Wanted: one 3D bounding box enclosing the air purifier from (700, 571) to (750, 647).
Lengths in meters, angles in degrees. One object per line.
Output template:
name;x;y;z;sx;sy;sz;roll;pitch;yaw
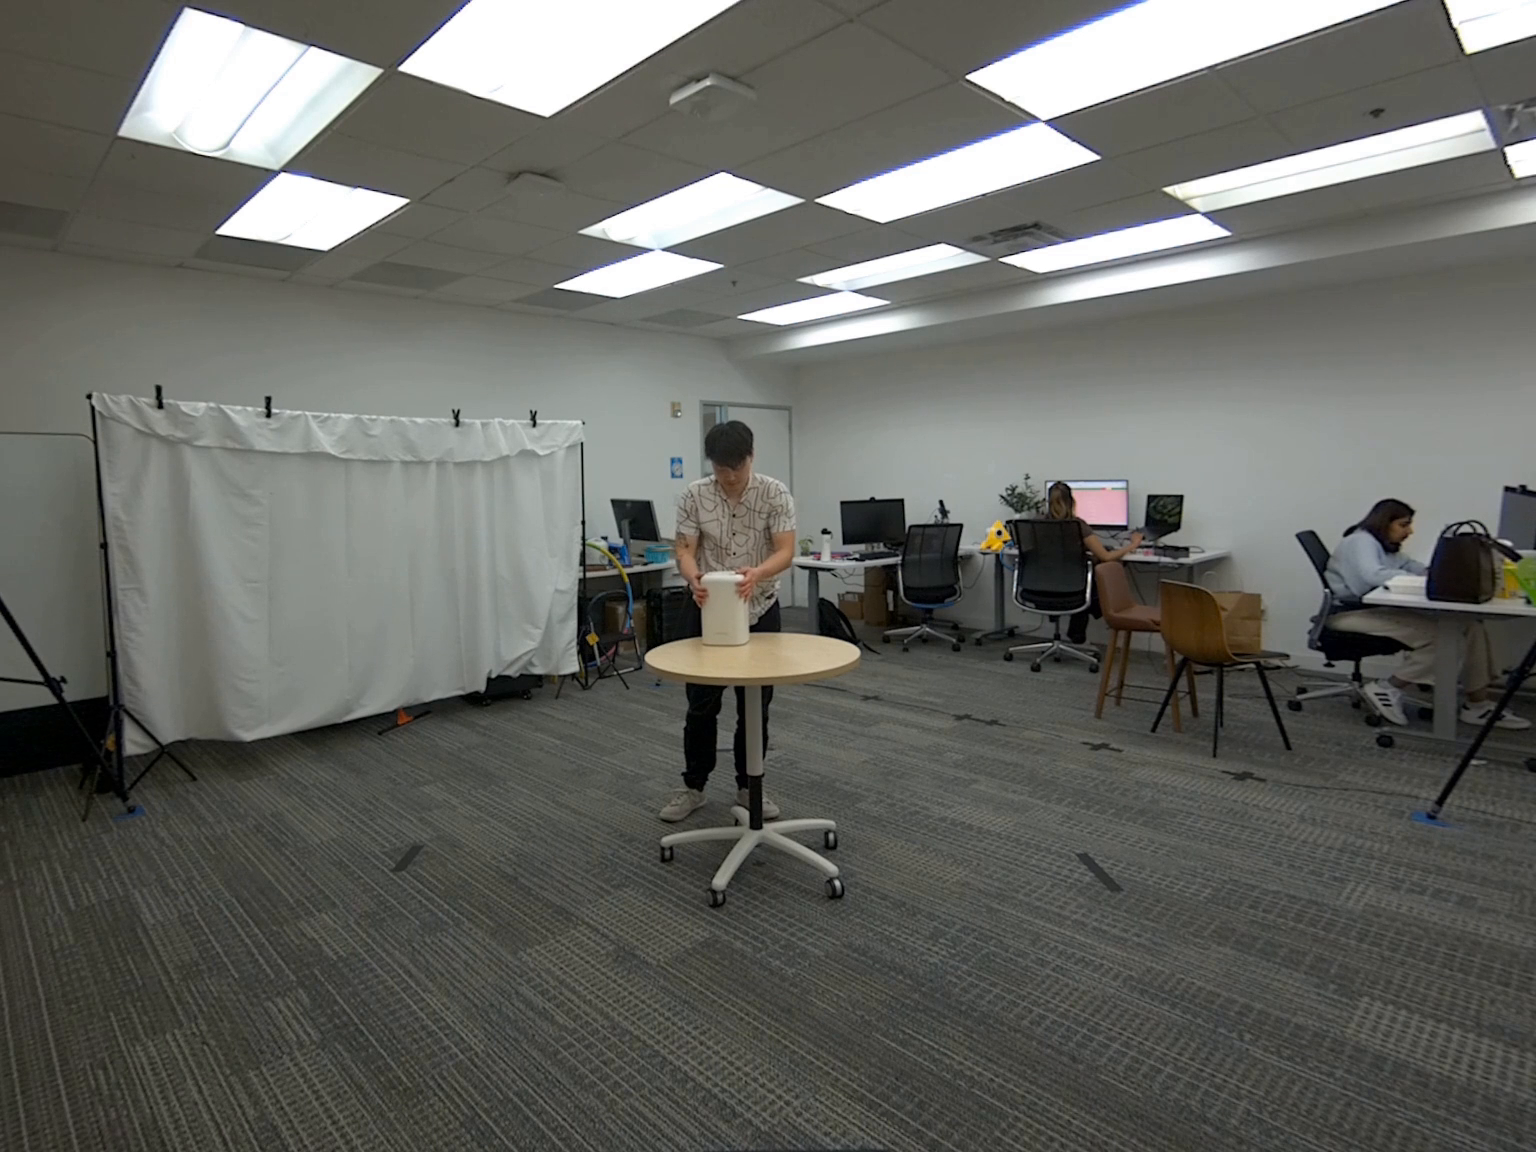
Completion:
air purifier;-0.165;0.122;3.253;0.173;0.264;0.170;-1;6;10
